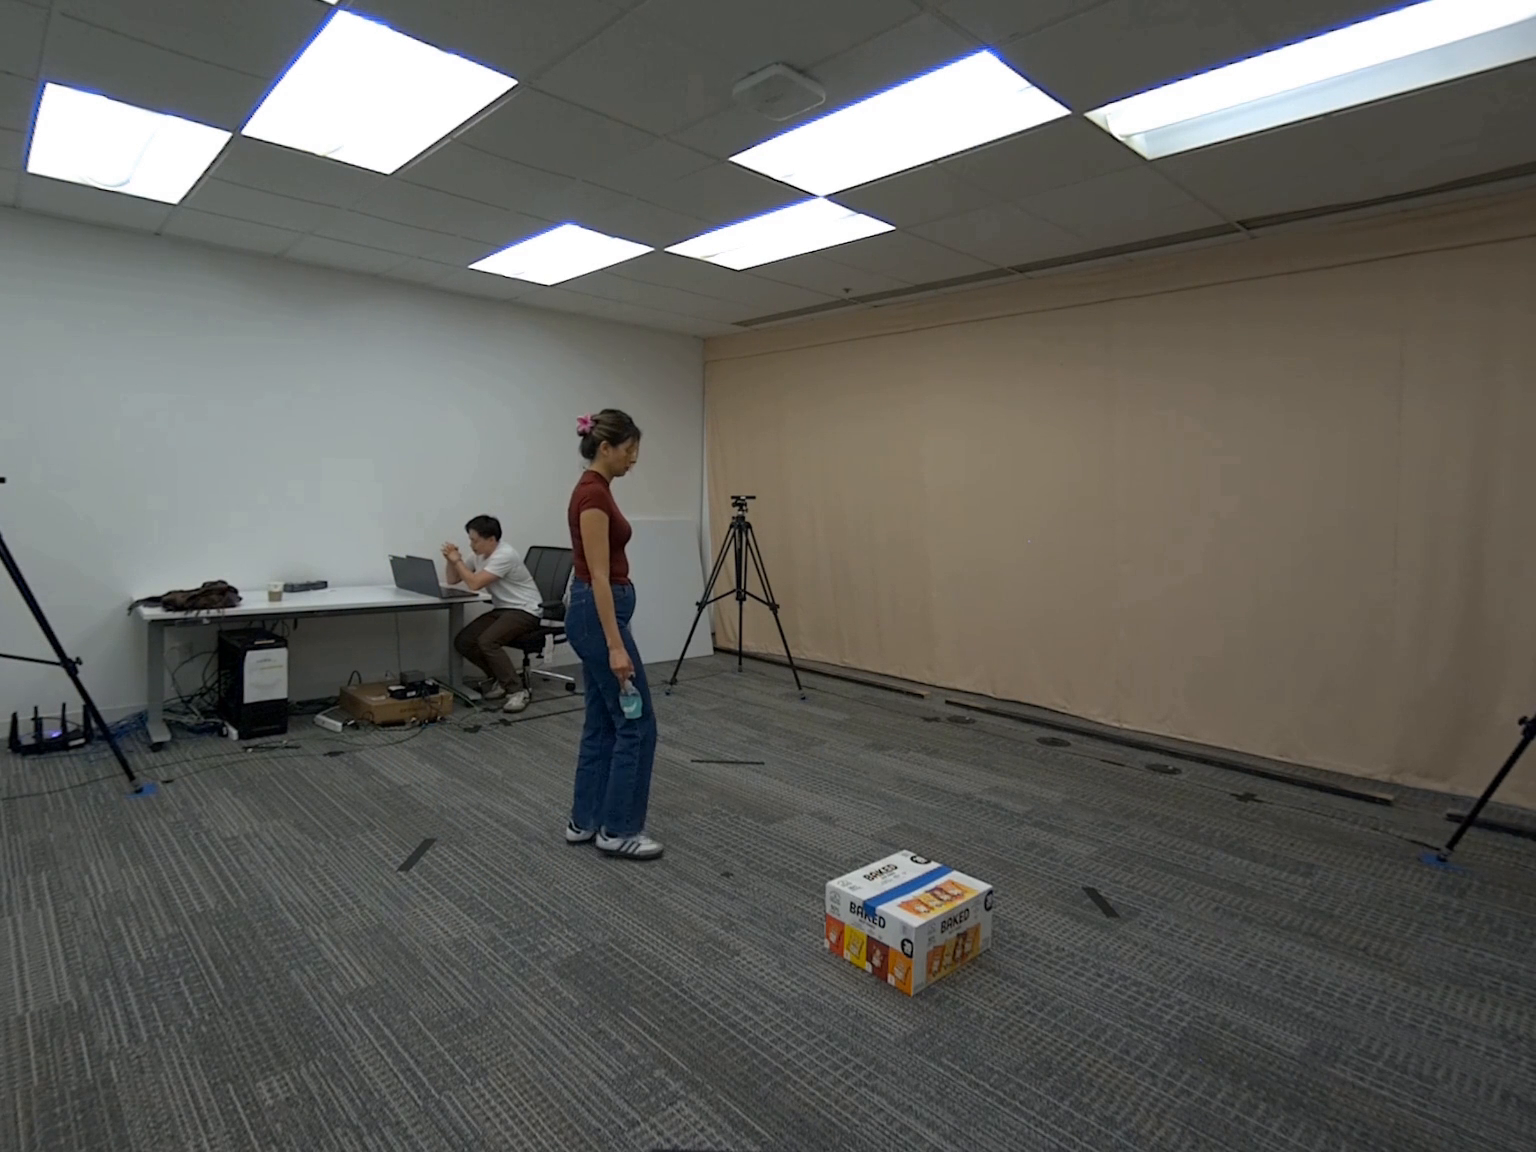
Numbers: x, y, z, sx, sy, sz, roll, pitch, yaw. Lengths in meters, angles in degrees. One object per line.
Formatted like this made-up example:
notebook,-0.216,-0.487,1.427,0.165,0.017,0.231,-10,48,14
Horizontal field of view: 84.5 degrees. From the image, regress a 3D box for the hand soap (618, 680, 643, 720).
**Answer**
hand soap,-0.519,0.428,3.056,0.085,0.167,0.043,-4,5,16
